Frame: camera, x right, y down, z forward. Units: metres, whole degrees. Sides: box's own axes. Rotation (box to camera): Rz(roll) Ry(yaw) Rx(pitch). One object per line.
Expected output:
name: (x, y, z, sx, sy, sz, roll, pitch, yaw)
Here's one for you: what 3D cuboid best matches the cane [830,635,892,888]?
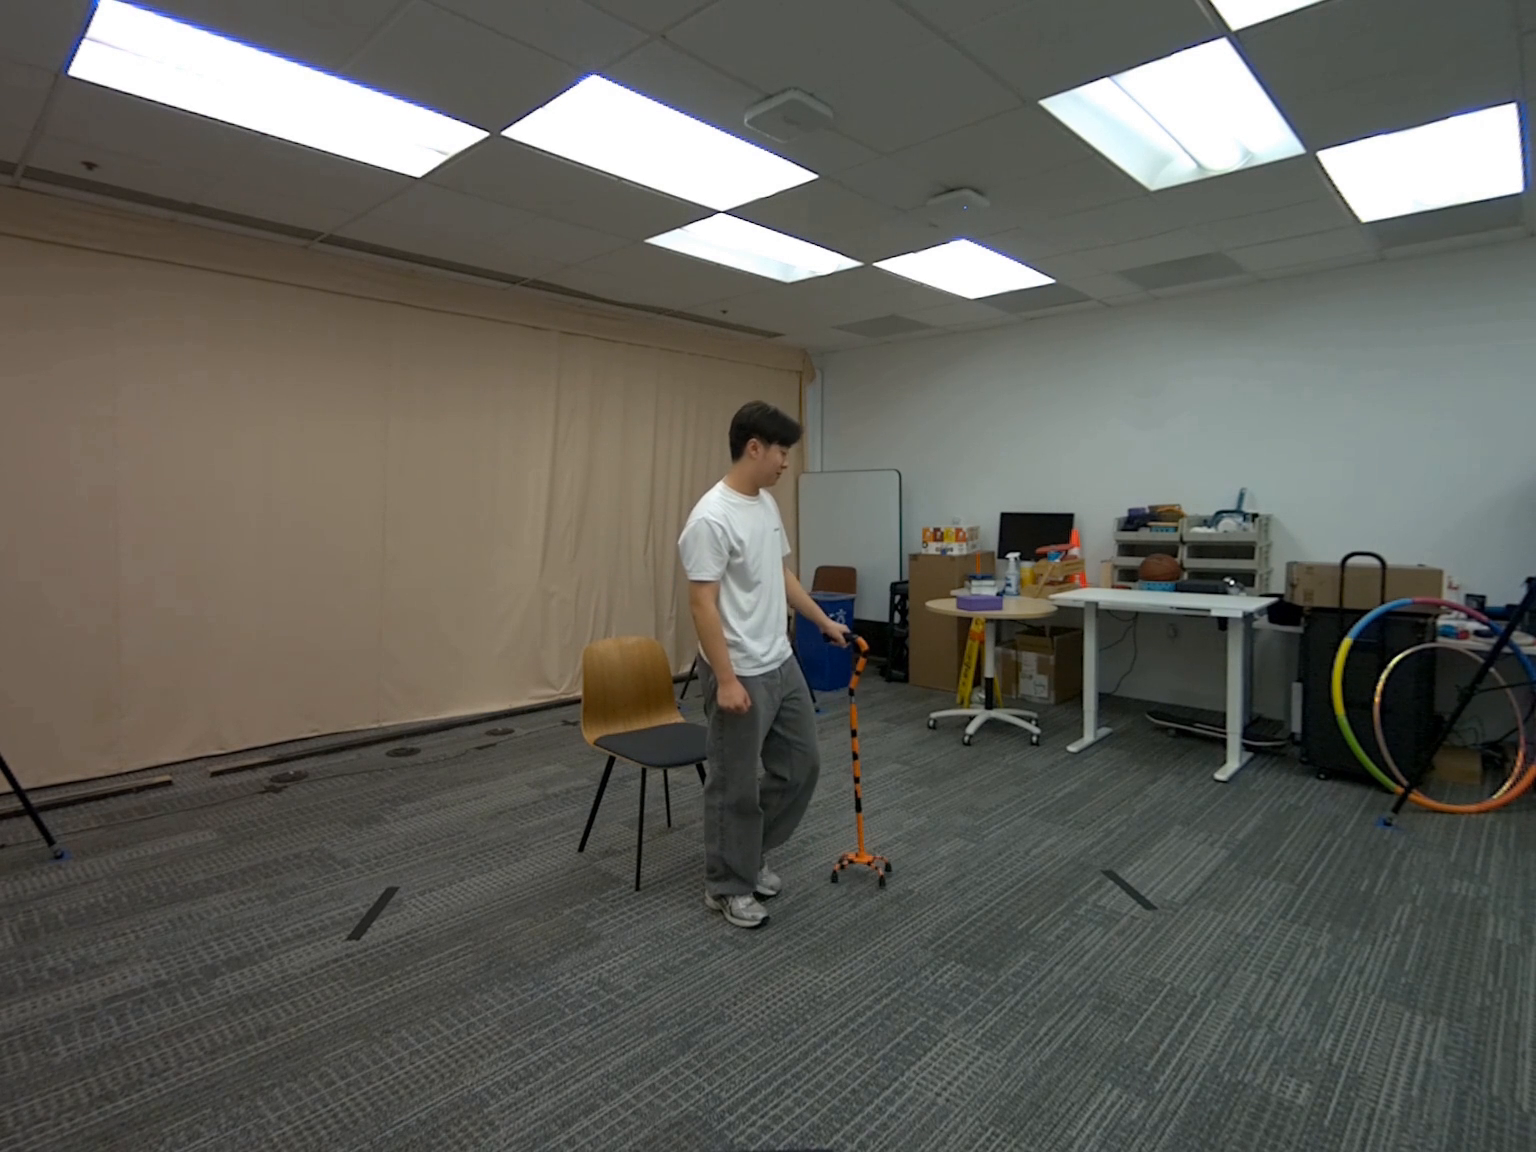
cane: (0.331, 0.656, 3.119, 0.211, 0.906, 0.148, -3, 3, 22)
